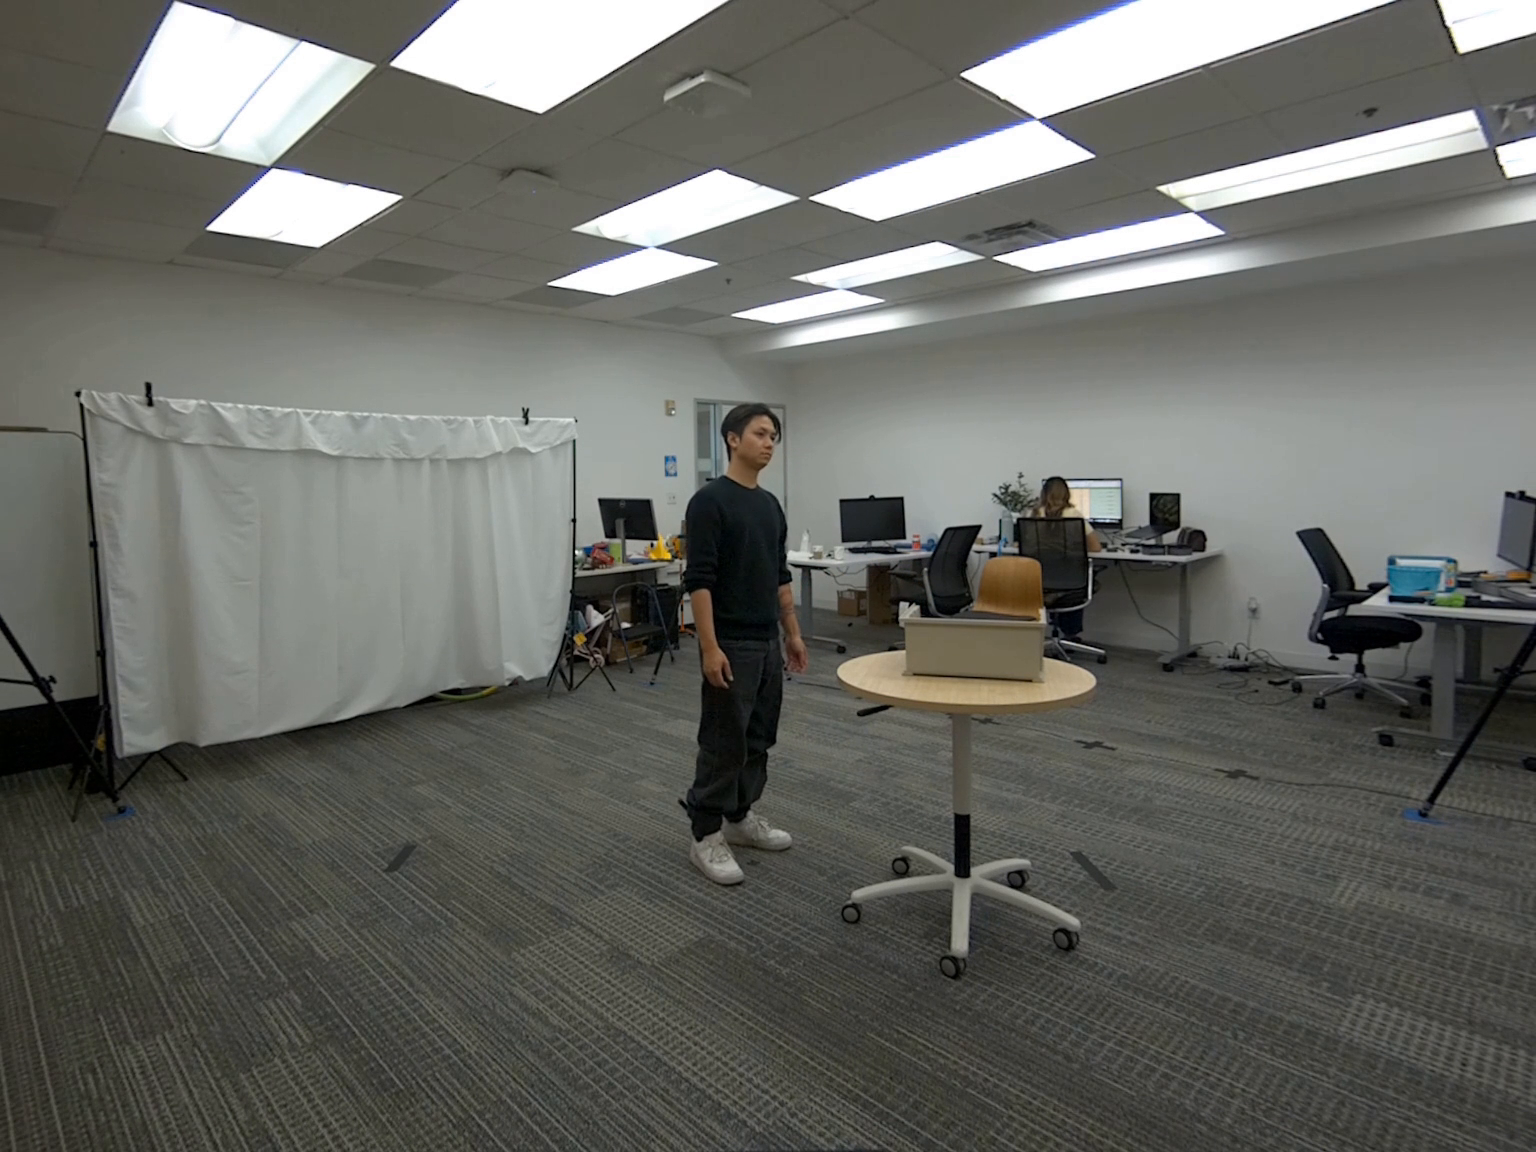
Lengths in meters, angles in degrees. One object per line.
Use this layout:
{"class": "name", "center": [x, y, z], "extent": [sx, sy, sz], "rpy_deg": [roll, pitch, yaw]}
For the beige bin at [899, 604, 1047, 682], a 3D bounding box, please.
{"class": "beige bin", "center": [0.663, 0.204, 2.711], "extent": [0.430, 0.188, 0.372], "rpy_deg": [1, 7, 19]}
